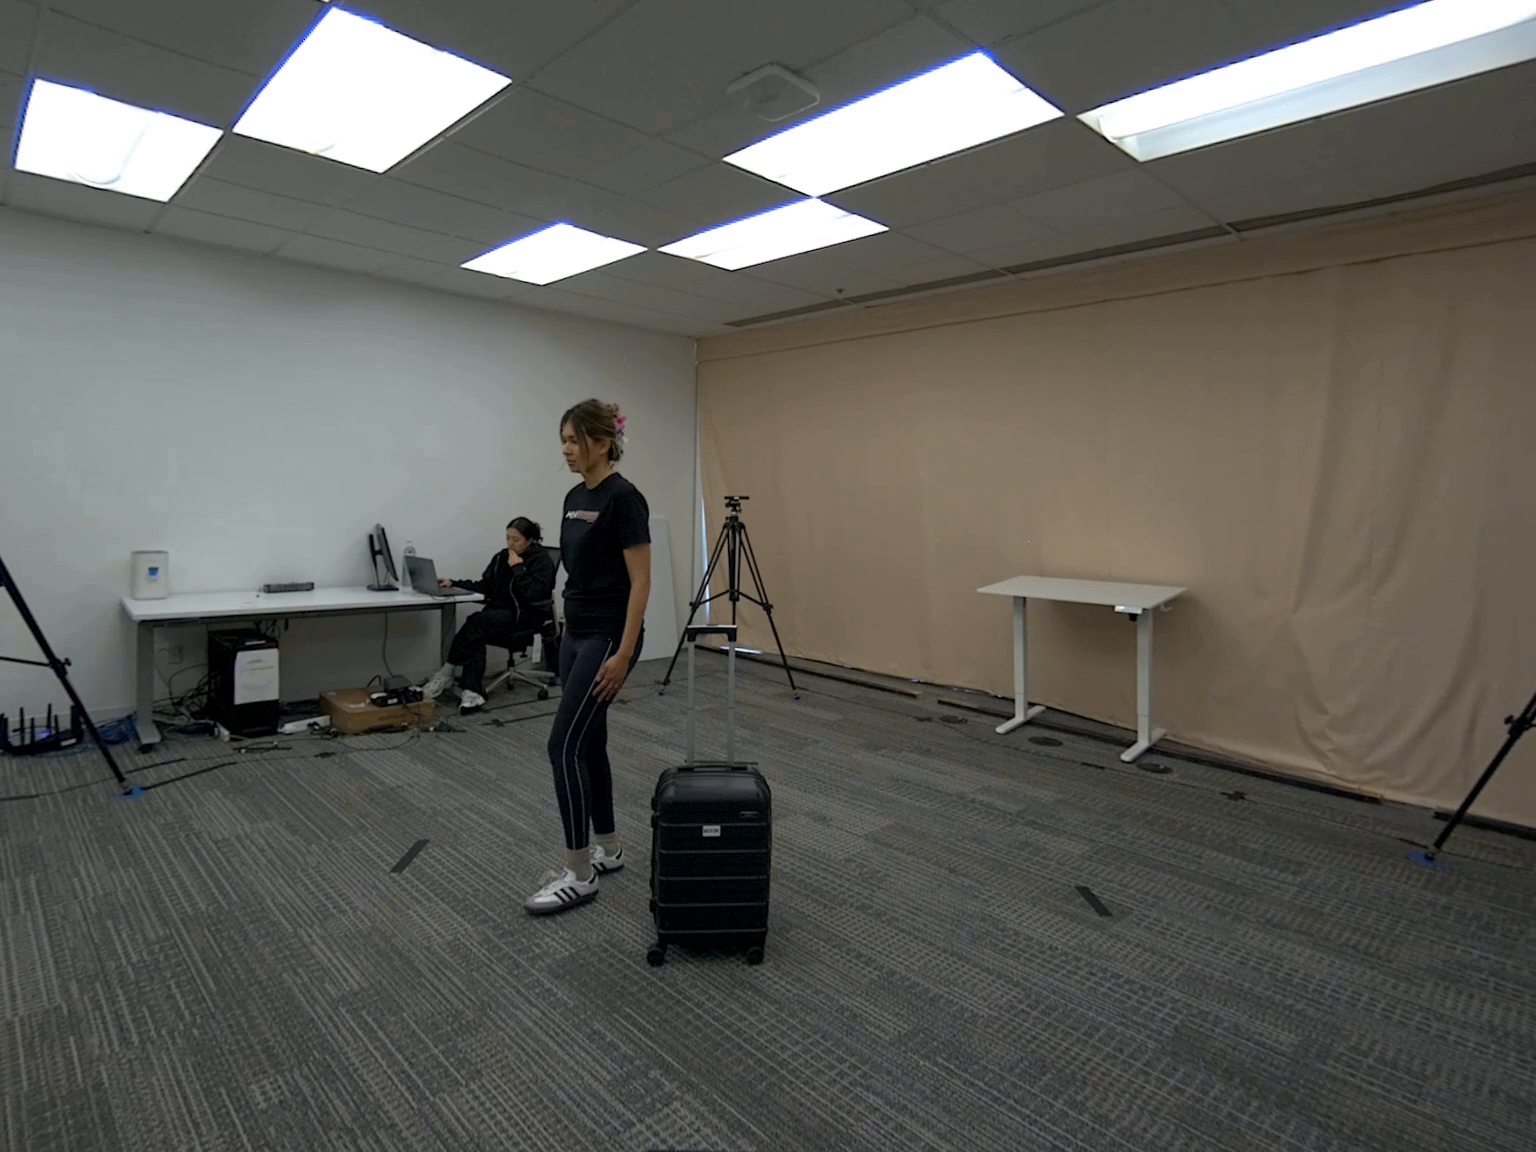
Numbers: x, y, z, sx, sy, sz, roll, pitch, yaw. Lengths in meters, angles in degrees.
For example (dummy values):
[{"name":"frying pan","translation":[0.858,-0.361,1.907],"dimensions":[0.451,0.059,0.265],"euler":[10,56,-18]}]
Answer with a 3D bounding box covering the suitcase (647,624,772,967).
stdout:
[{"name":"suitcase","translation":[-0.174,0.674,2.583],"dimensions":[0.383,0.975,0.258],"euler":[1,4,-3]}]
